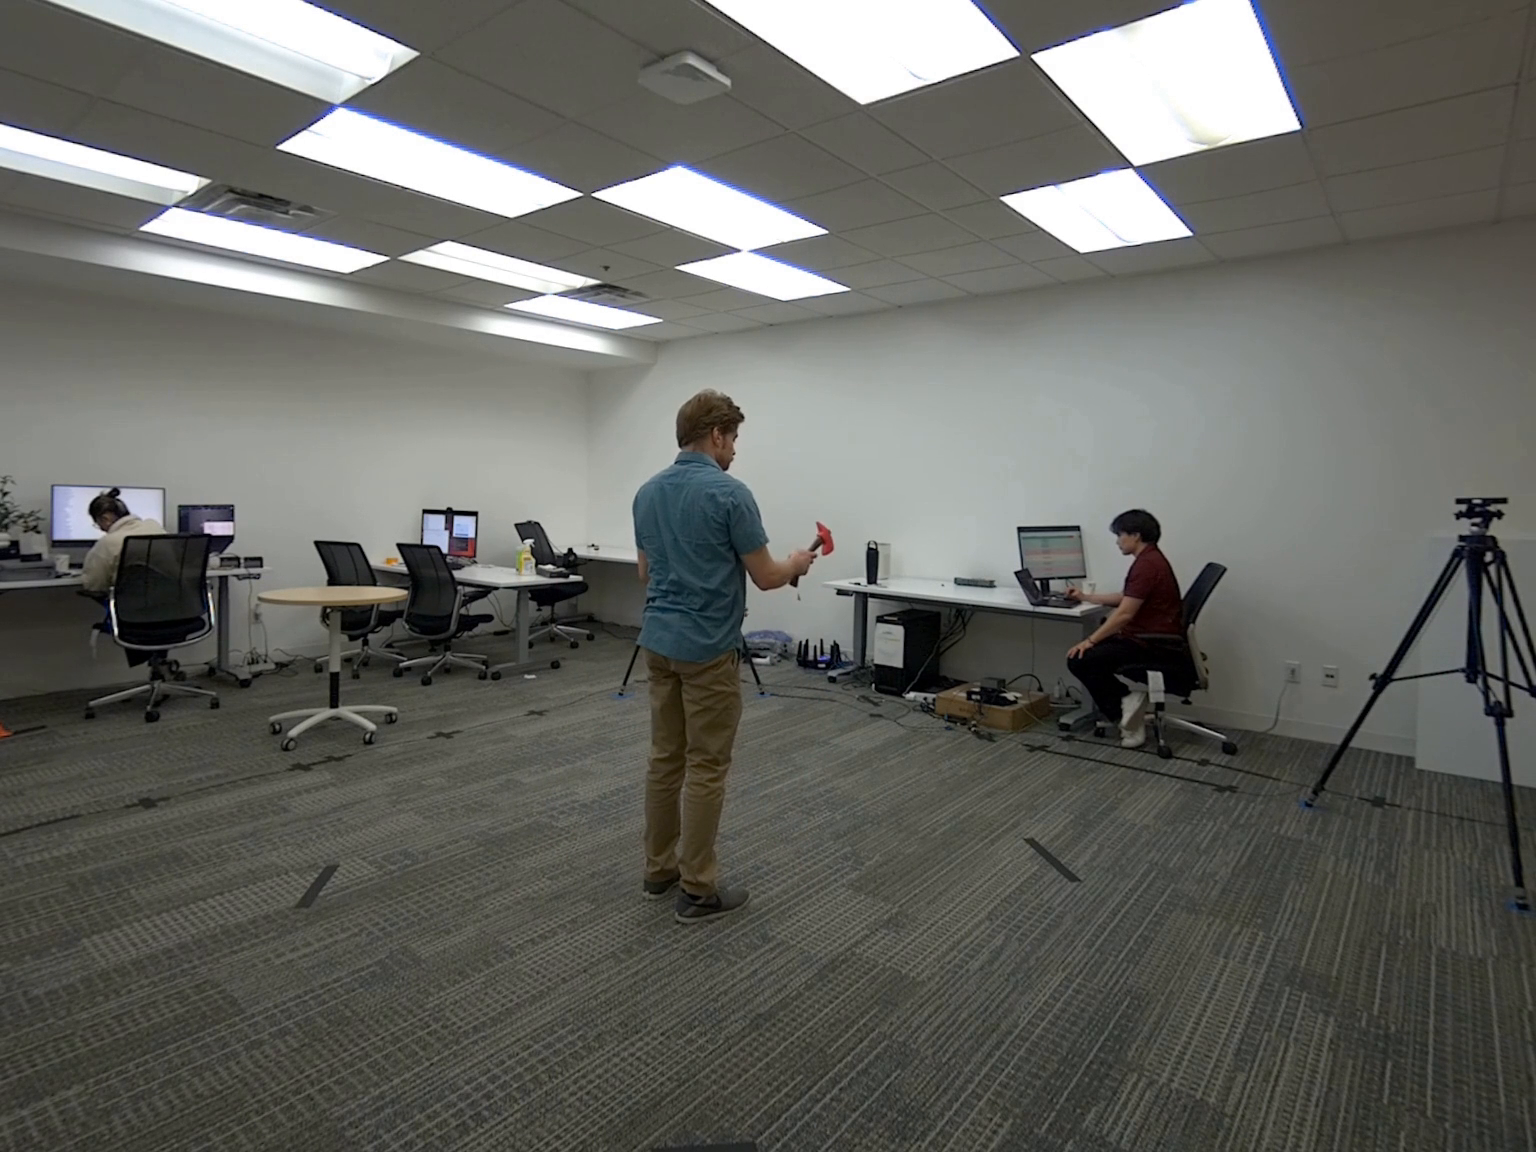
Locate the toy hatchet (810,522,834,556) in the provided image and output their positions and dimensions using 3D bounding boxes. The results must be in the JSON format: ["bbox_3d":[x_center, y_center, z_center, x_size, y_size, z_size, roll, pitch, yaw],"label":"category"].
[{"bbox_3d":[0.149,-0.050,3.111,0.030,0.272,0.126,6,-28,50],"label":"toy hatchet"}]
